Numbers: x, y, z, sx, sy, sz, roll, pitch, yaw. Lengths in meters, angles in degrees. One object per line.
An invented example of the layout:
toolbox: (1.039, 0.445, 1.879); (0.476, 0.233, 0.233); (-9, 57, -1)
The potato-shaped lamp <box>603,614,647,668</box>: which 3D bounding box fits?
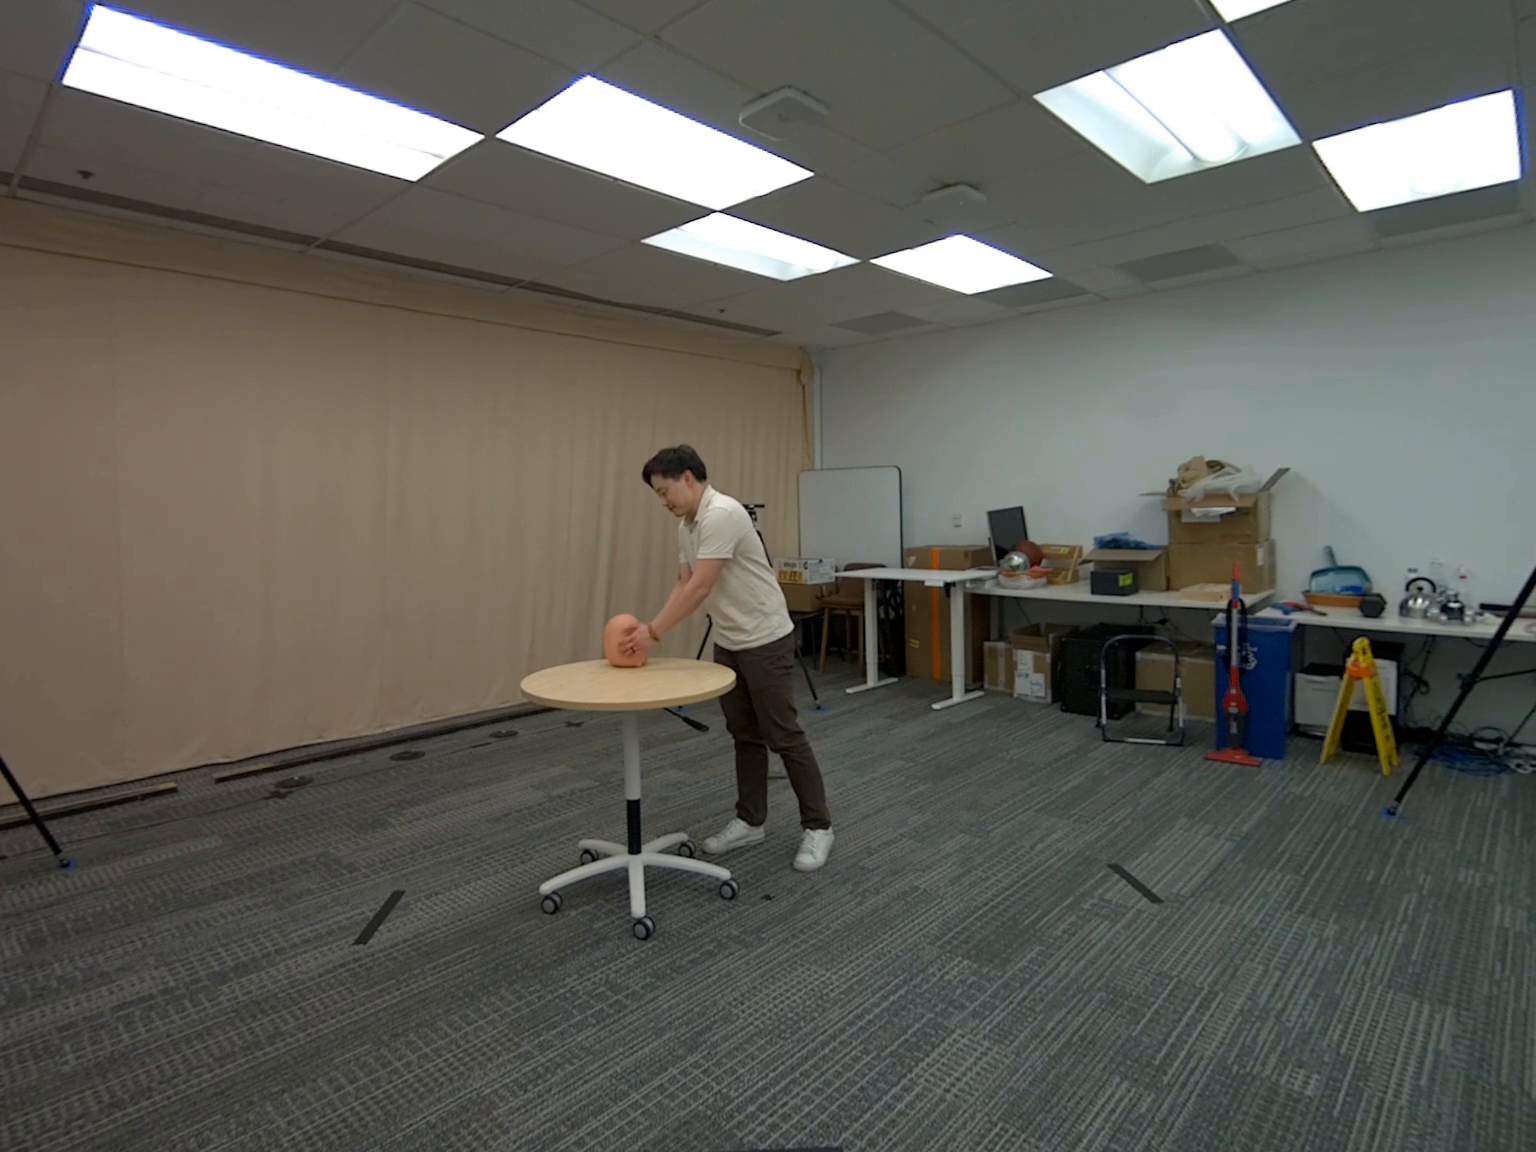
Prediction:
potato-shaped lamp: (-0.545, 0.244, 3.247); (0.172, 0.198, 0.164); (3, 0, 5)
